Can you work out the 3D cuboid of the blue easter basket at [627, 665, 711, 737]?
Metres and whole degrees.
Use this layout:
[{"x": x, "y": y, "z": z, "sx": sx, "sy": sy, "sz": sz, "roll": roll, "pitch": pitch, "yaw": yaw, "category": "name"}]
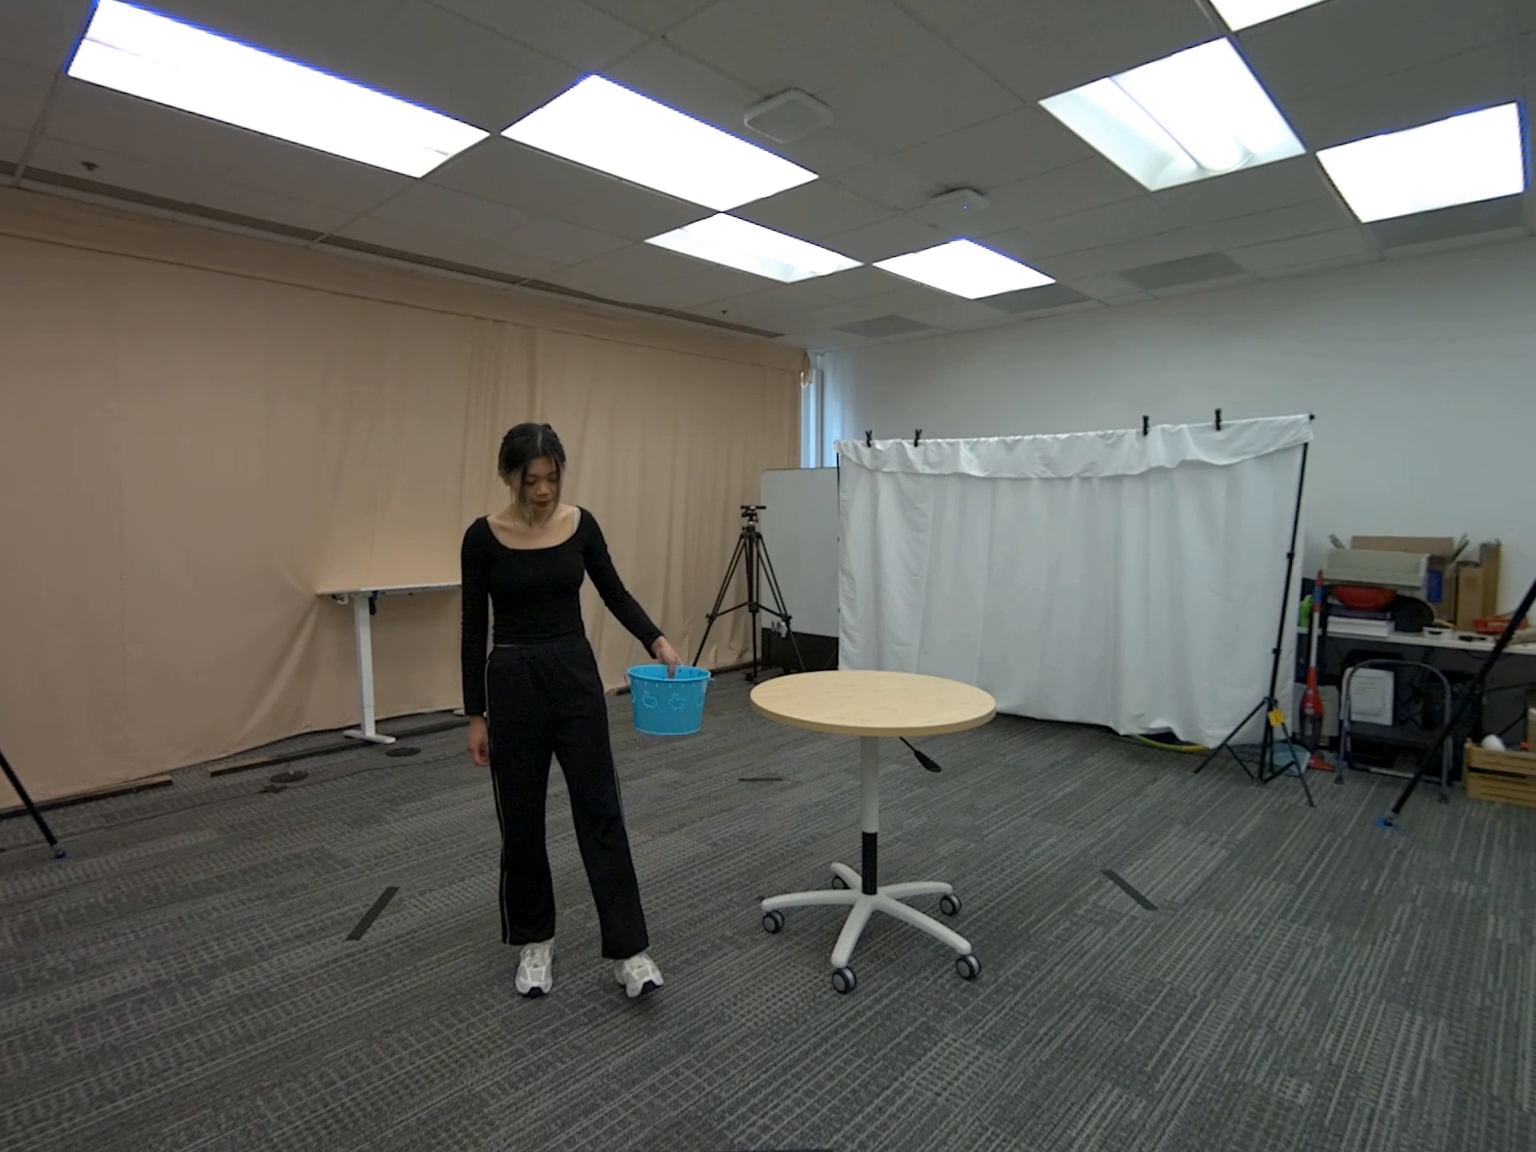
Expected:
[{"x": -0.278, "y": 0.346, "z": 2.288, "sx": 0.243, "sy": 0.156, "sz": 0.244, "roll": 3, "pitch": 2, "yaw": -2, "category": "blue easter basket"}]
